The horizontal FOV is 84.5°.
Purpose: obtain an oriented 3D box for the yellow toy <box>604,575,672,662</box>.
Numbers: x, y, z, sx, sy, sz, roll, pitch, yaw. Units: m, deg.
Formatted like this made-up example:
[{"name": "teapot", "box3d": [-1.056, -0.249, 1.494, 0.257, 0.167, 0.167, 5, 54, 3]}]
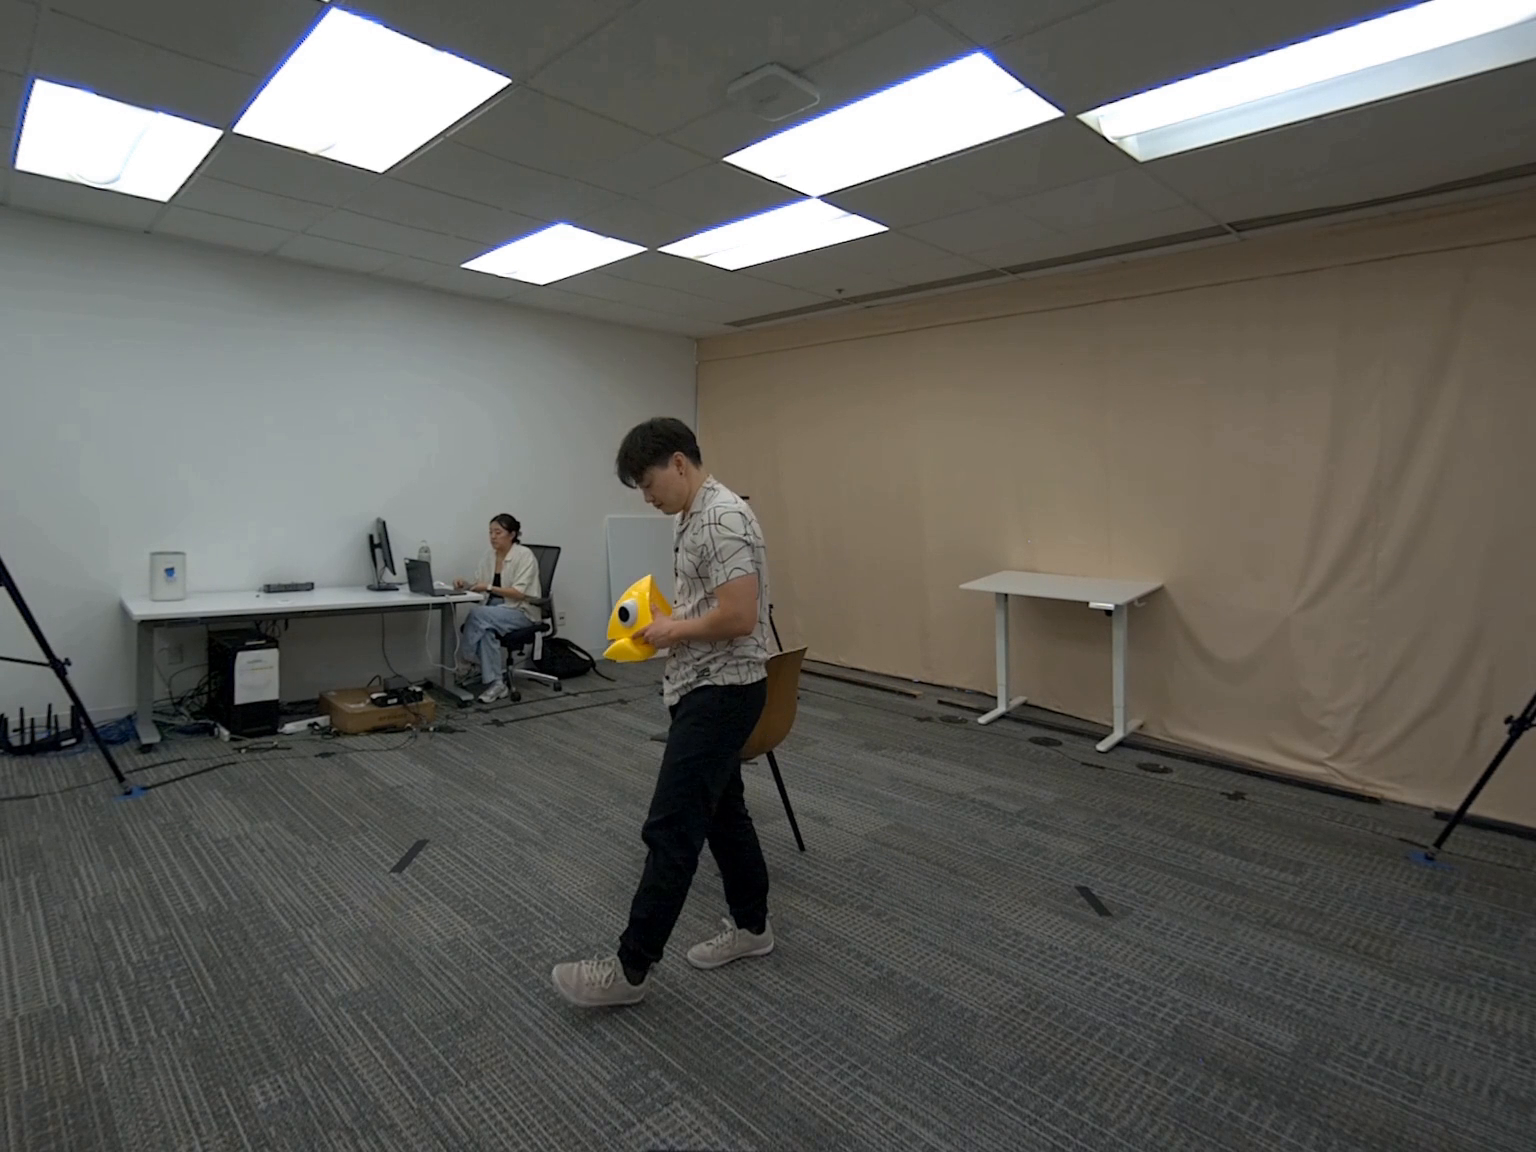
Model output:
[{"name": "yellow toy", "box3d": [-0.398, 0.105, 2.497, 0.195, 0.228, 0.205, 0, 17, 9]}]
